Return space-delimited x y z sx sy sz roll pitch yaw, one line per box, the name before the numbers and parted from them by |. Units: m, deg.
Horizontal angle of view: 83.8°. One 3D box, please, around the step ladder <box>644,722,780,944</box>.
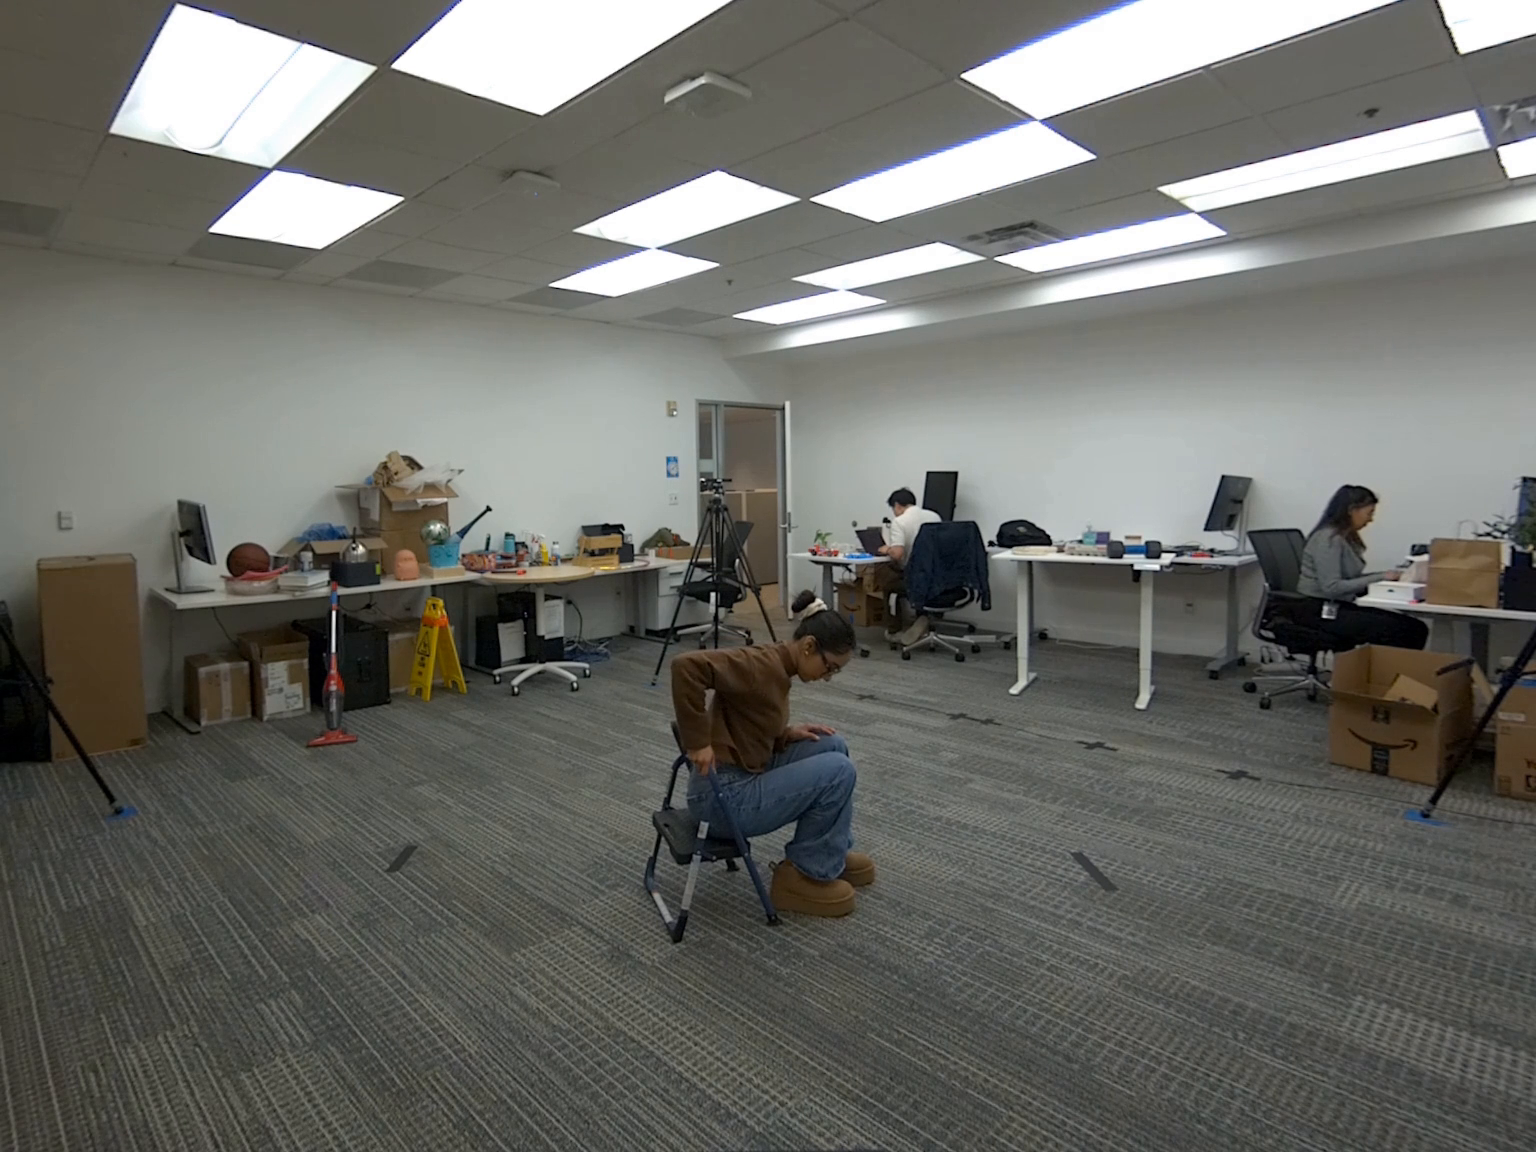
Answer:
step ladder | -0.200 0.783 2.806 0.343 0.603 0.440 -2 5 -21
